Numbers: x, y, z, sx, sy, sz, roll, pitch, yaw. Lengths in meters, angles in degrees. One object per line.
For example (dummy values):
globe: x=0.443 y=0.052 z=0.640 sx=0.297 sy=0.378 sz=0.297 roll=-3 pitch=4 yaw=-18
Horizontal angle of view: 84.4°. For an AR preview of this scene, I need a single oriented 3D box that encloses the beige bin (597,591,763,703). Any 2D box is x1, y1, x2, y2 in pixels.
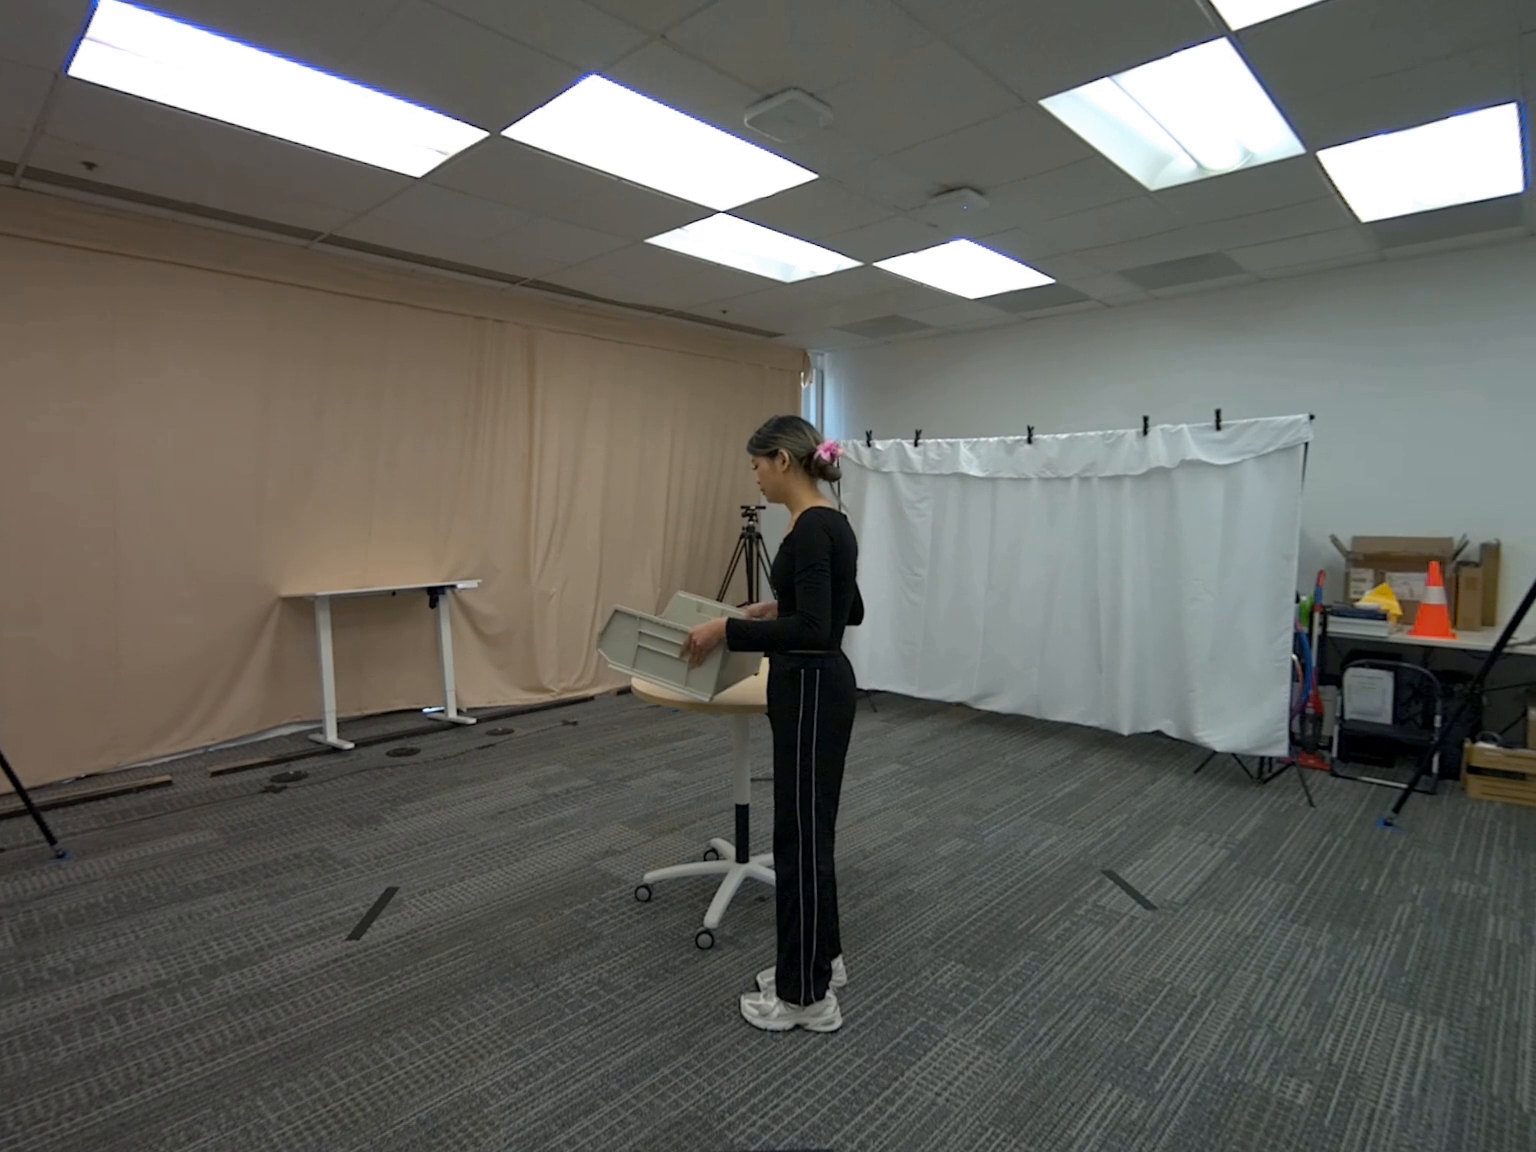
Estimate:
beige bin: x=-0.224 y=0.188 z=2.465 sx=0.386 sy=0.188 sz=0.414 roll=16 pitch=8 yaw=18
